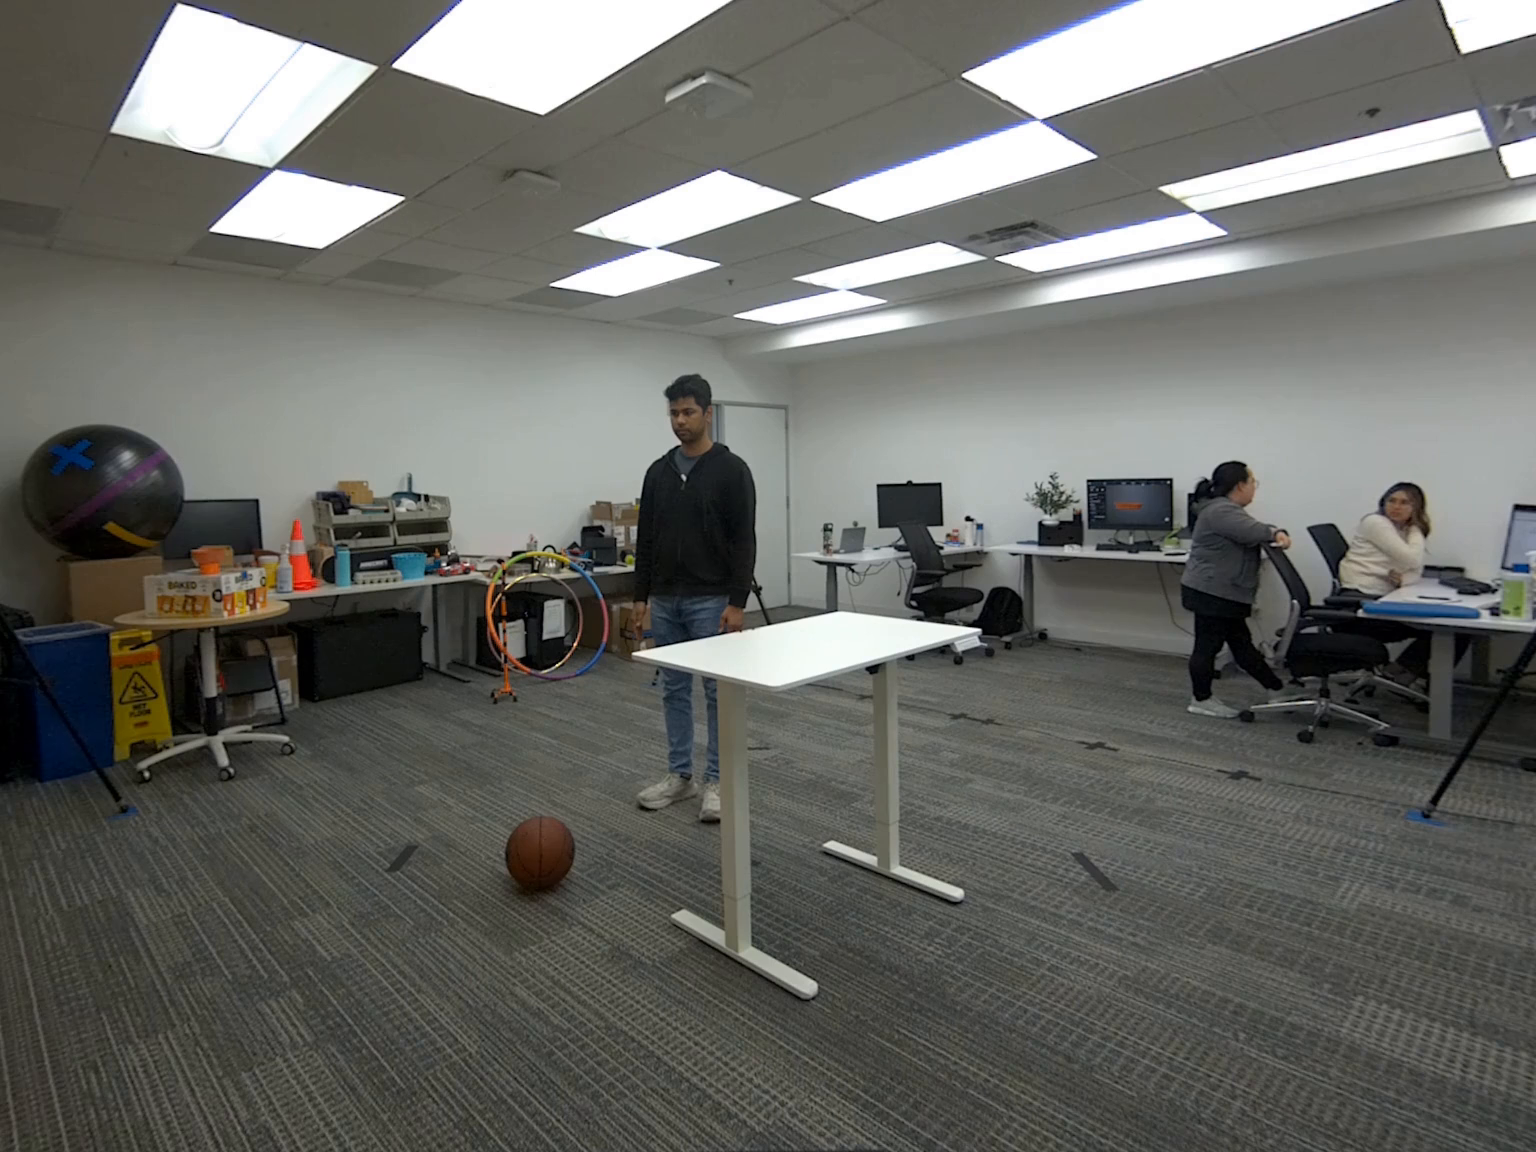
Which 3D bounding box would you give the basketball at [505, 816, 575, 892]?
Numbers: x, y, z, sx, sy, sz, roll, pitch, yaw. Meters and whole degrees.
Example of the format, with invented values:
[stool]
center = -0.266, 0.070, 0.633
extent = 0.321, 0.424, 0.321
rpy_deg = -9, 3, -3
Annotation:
[basketball]
center = -0.785, 0.950, 2.956
extent = 0.236, 0.235, 0.237
rpy_deg = -1, 5, -2
